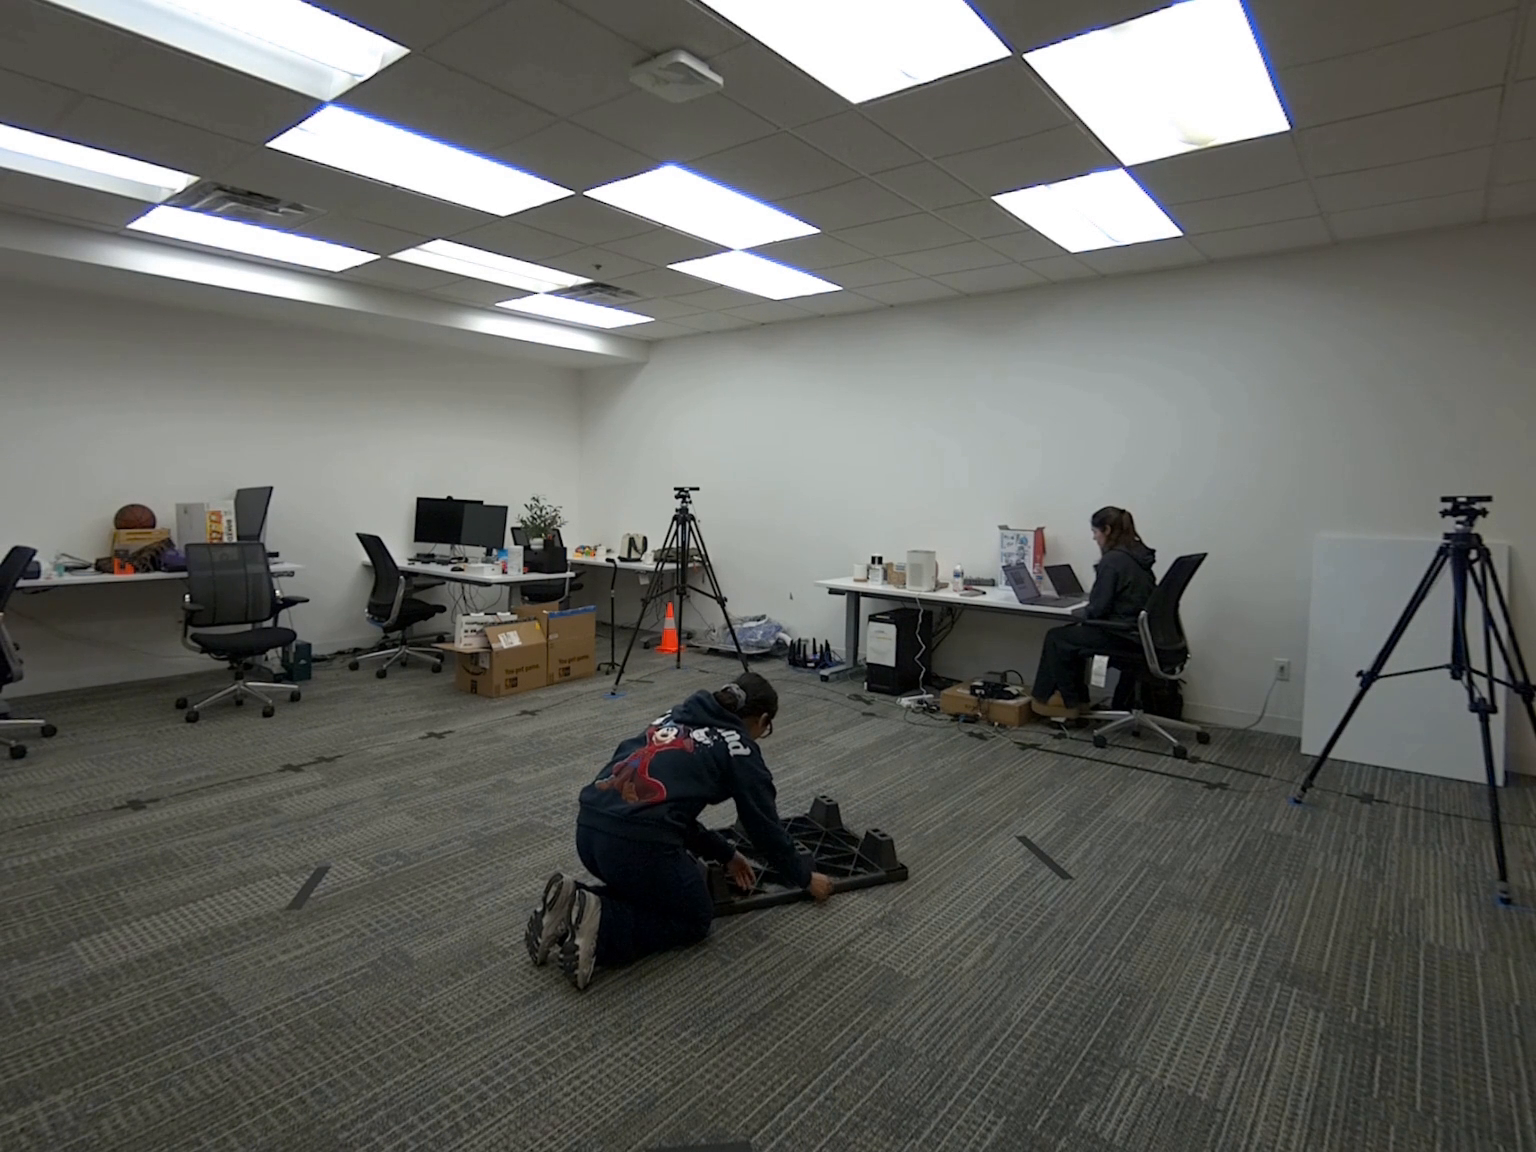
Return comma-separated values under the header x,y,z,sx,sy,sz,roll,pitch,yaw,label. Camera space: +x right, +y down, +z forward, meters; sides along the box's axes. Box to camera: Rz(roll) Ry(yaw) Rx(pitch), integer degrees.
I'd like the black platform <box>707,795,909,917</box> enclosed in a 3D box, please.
x,y,z,sx,sy,sz,roll,pitch,yaw,label
0.017,0.997,3.157,0.786,0.143,0.622,-2,6,-27,black platform
